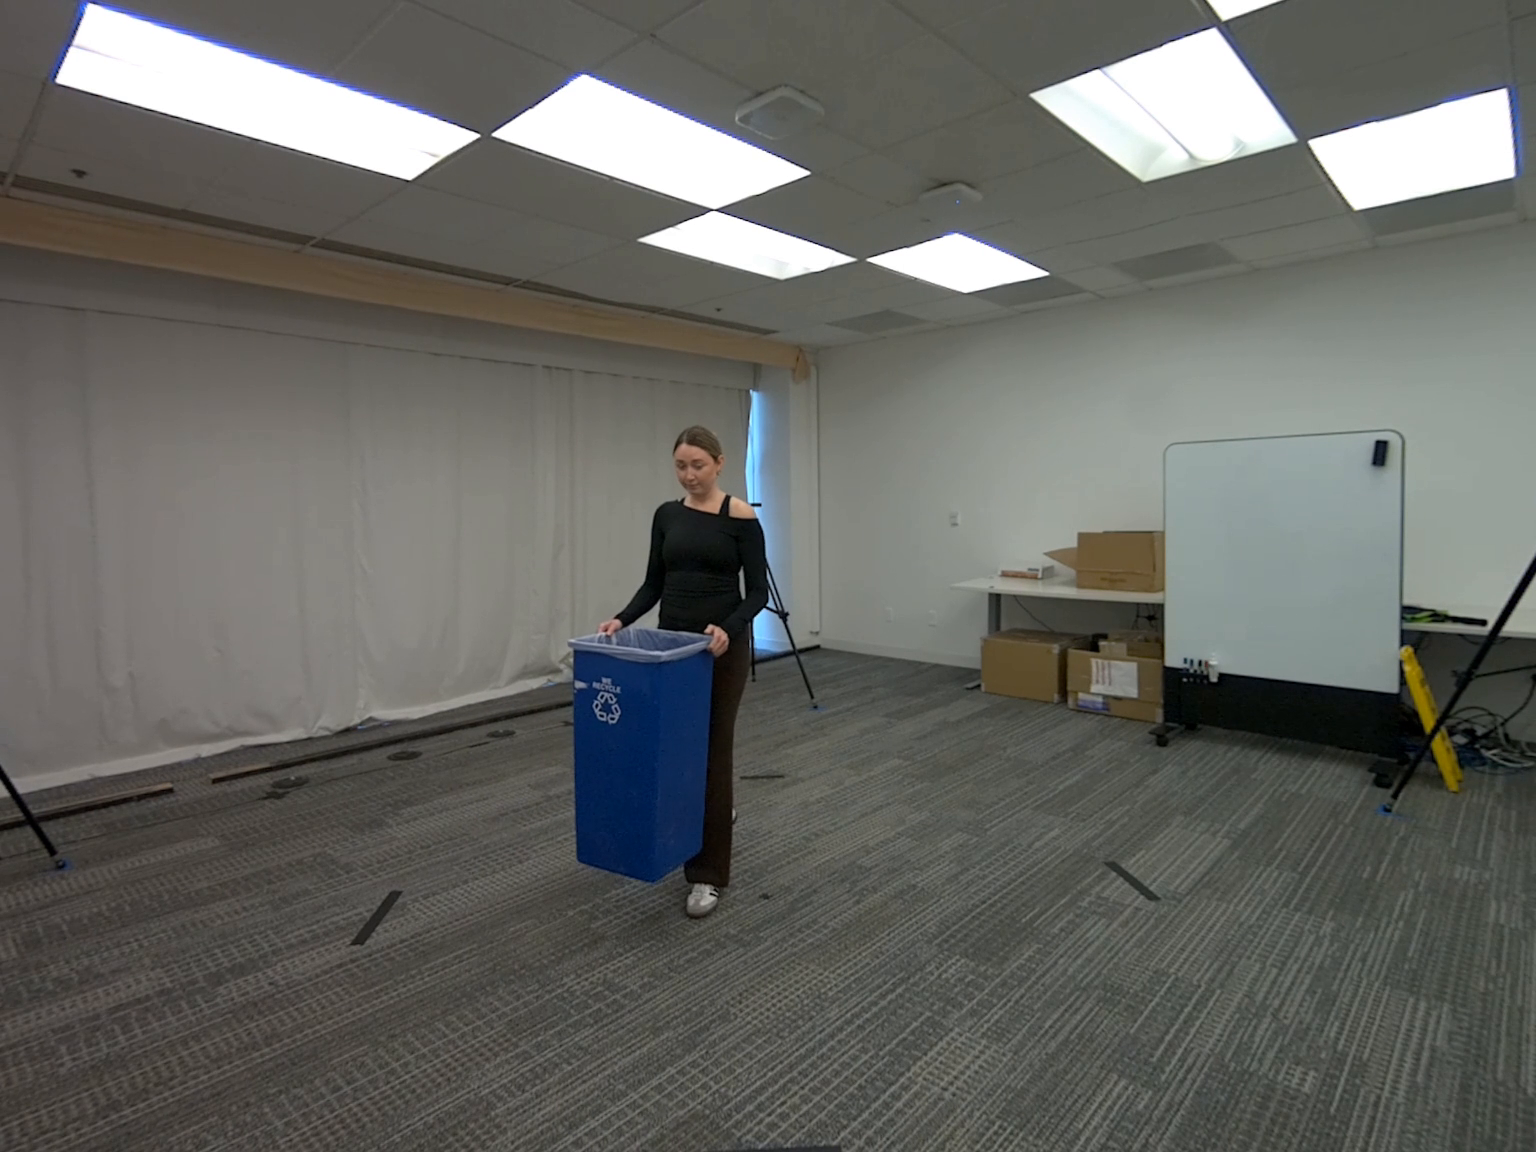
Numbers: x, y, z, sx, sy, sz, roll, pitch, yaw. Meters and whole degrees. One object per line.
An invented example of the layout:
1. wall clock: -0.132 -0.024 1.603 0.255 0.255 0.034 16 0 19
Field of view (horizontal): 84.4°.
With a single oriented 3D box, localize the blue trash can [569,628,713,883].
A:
1. blue trash can: -0.398 0.558 2.718 0.385 0.712 0.368 3 4 28
